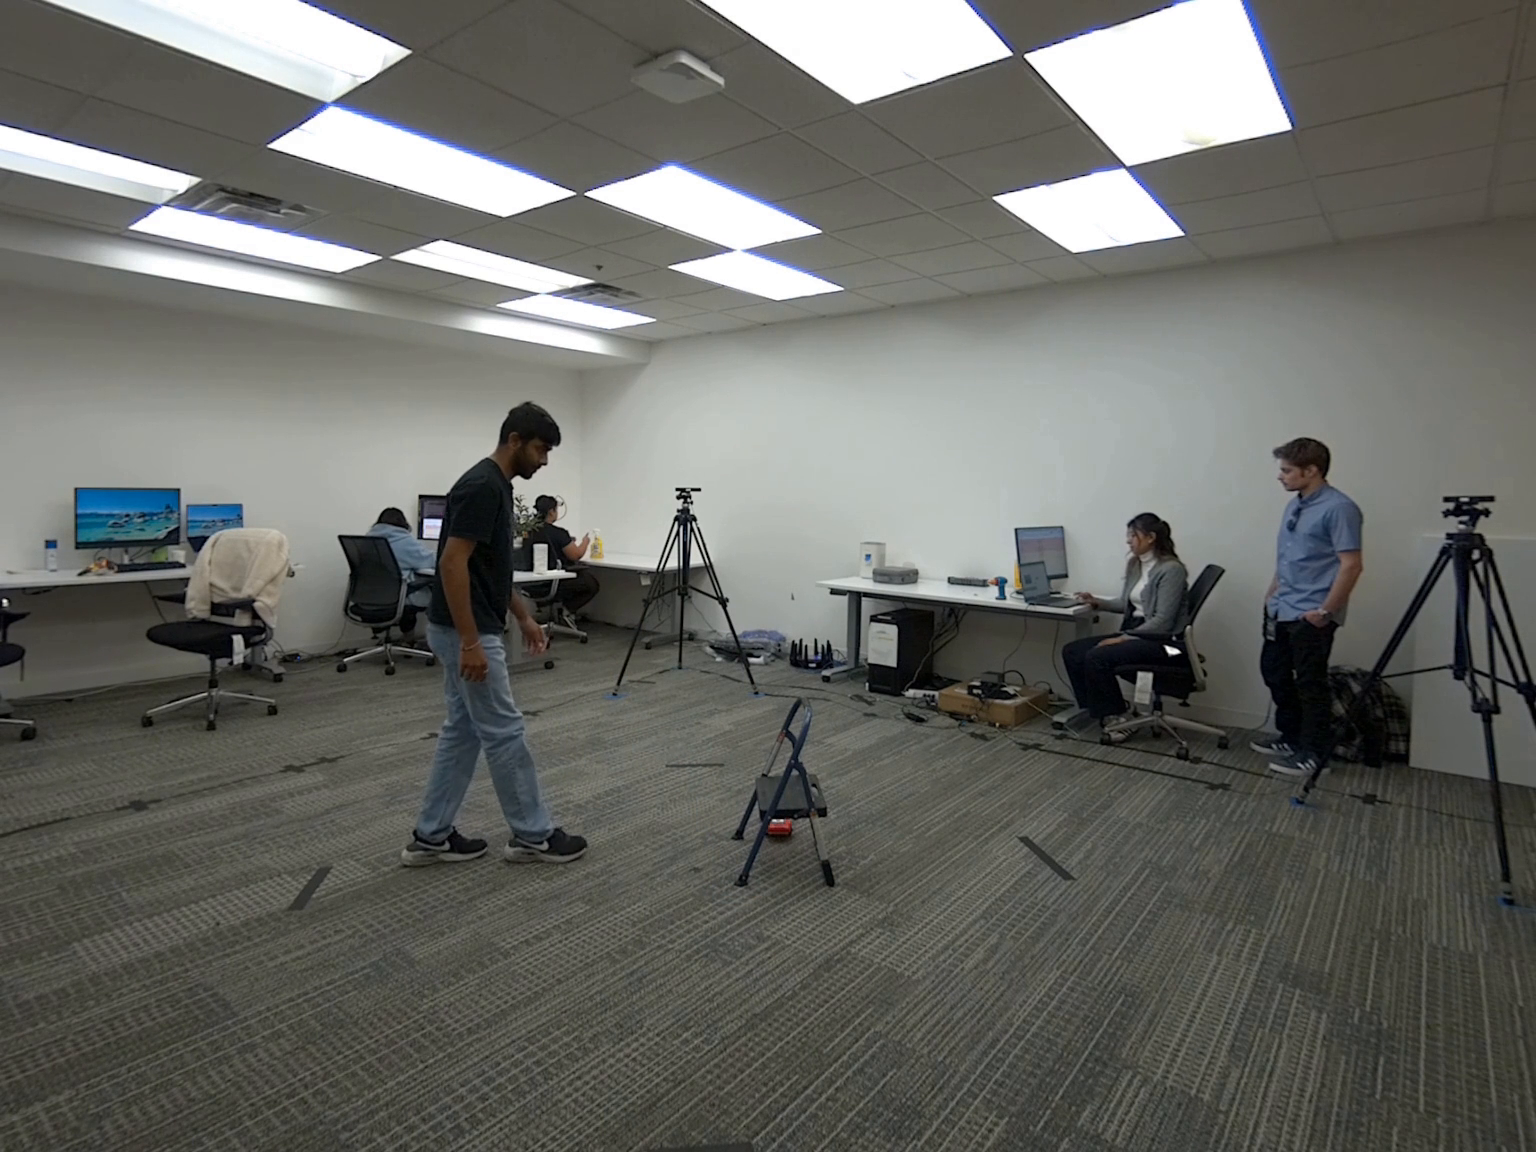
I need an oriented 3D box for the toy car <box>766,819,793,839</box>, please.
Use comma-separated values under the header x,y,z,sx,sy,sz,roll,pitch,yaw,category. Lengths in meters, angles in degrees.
x,y,z,sx,sy,sz,roll,pitch,yaw,category
0.029,1.018,3.490,0.131,0.084,0.251,-1,-10,2,toy car
